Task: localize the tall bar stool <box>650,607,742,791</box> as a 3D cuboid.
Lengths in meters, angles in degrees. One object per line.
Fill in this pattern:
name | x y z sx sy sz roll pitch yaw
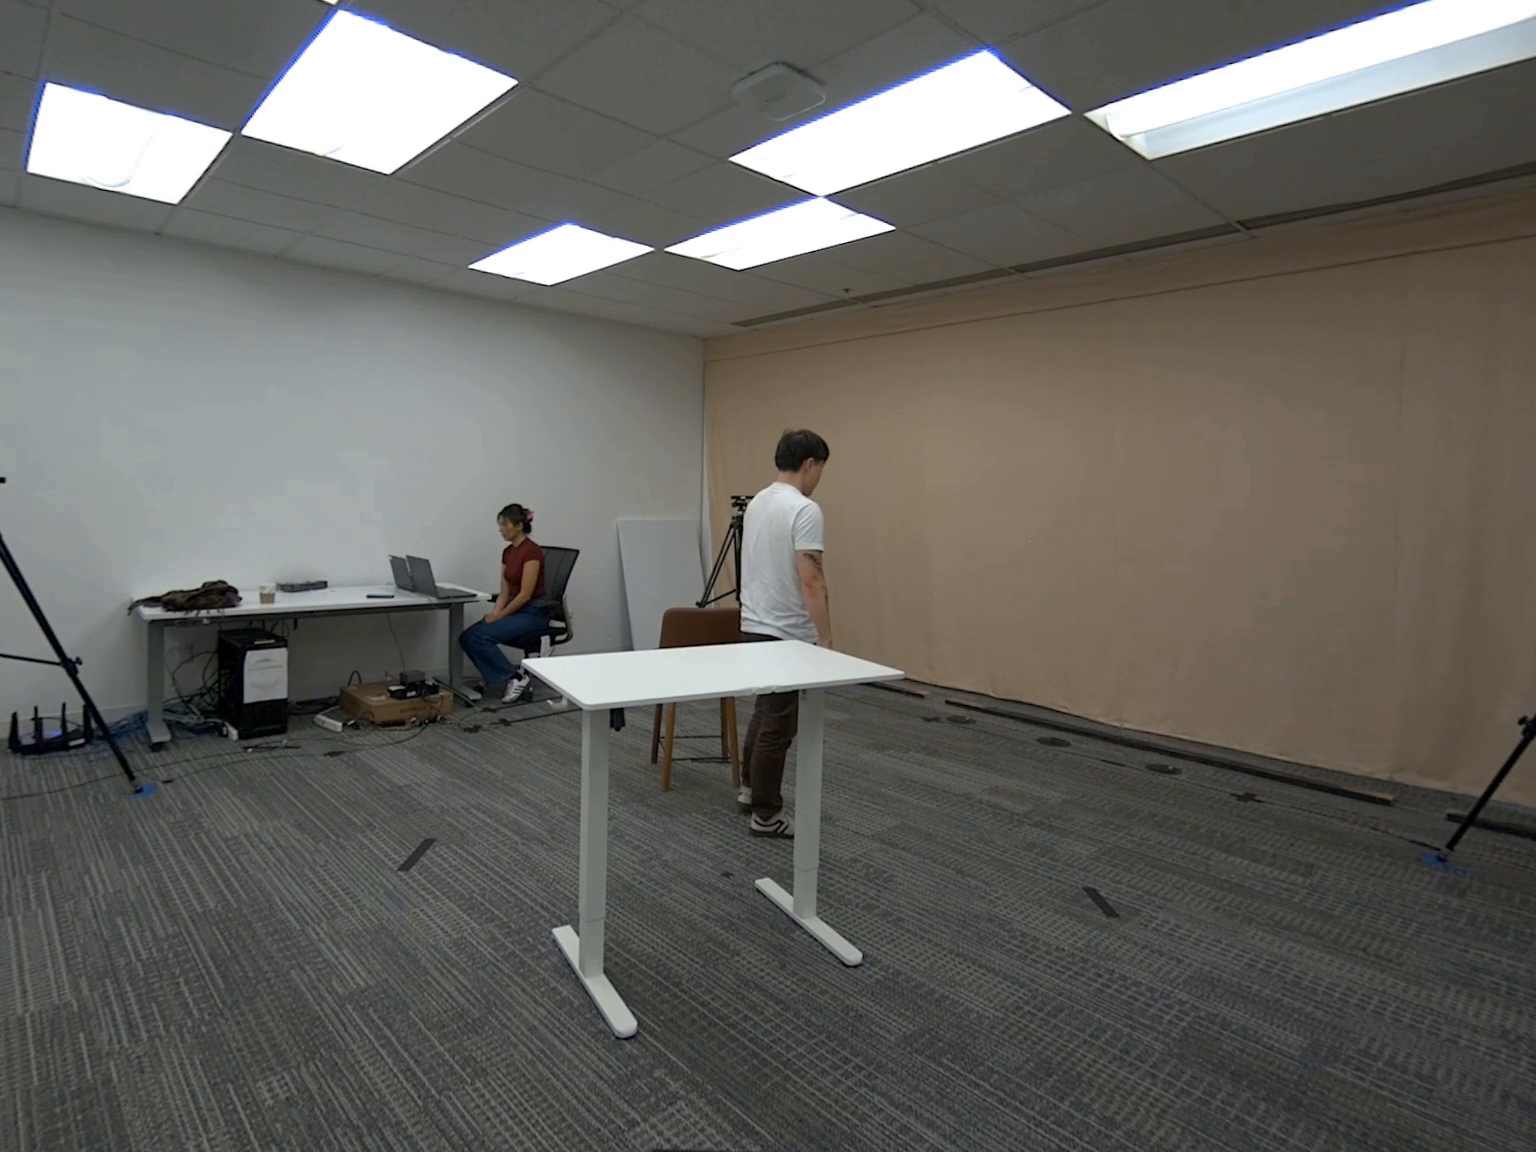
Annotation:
tall bar stool | -0.361 0.568 4.199 0.452 0.886 0.474 1 5 -12
